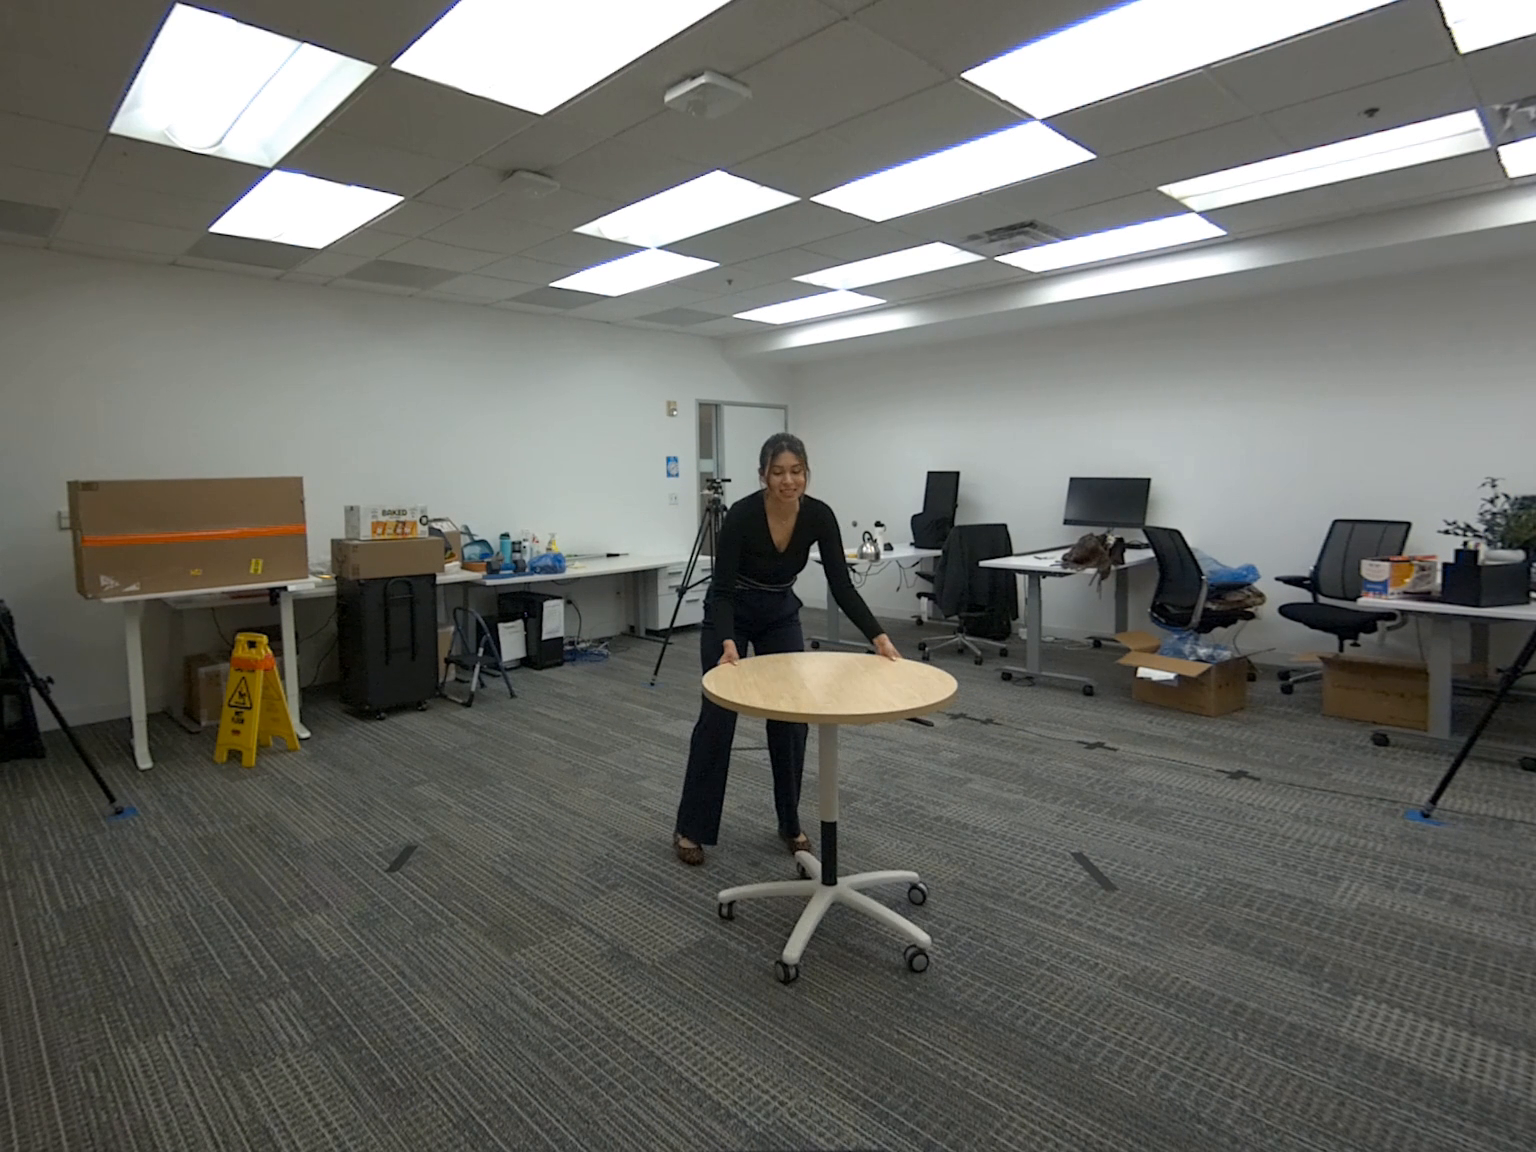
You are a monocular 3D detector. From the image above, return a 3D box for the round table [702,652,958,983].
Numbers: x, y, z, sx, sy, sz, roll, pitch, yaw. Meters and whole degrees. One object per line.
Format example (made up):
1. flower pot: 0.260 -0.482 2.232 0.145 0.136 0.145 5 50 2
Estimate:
1. round table: 0.195 0.707 2.636 0.763 0.790 0.768 -1 5 -2
